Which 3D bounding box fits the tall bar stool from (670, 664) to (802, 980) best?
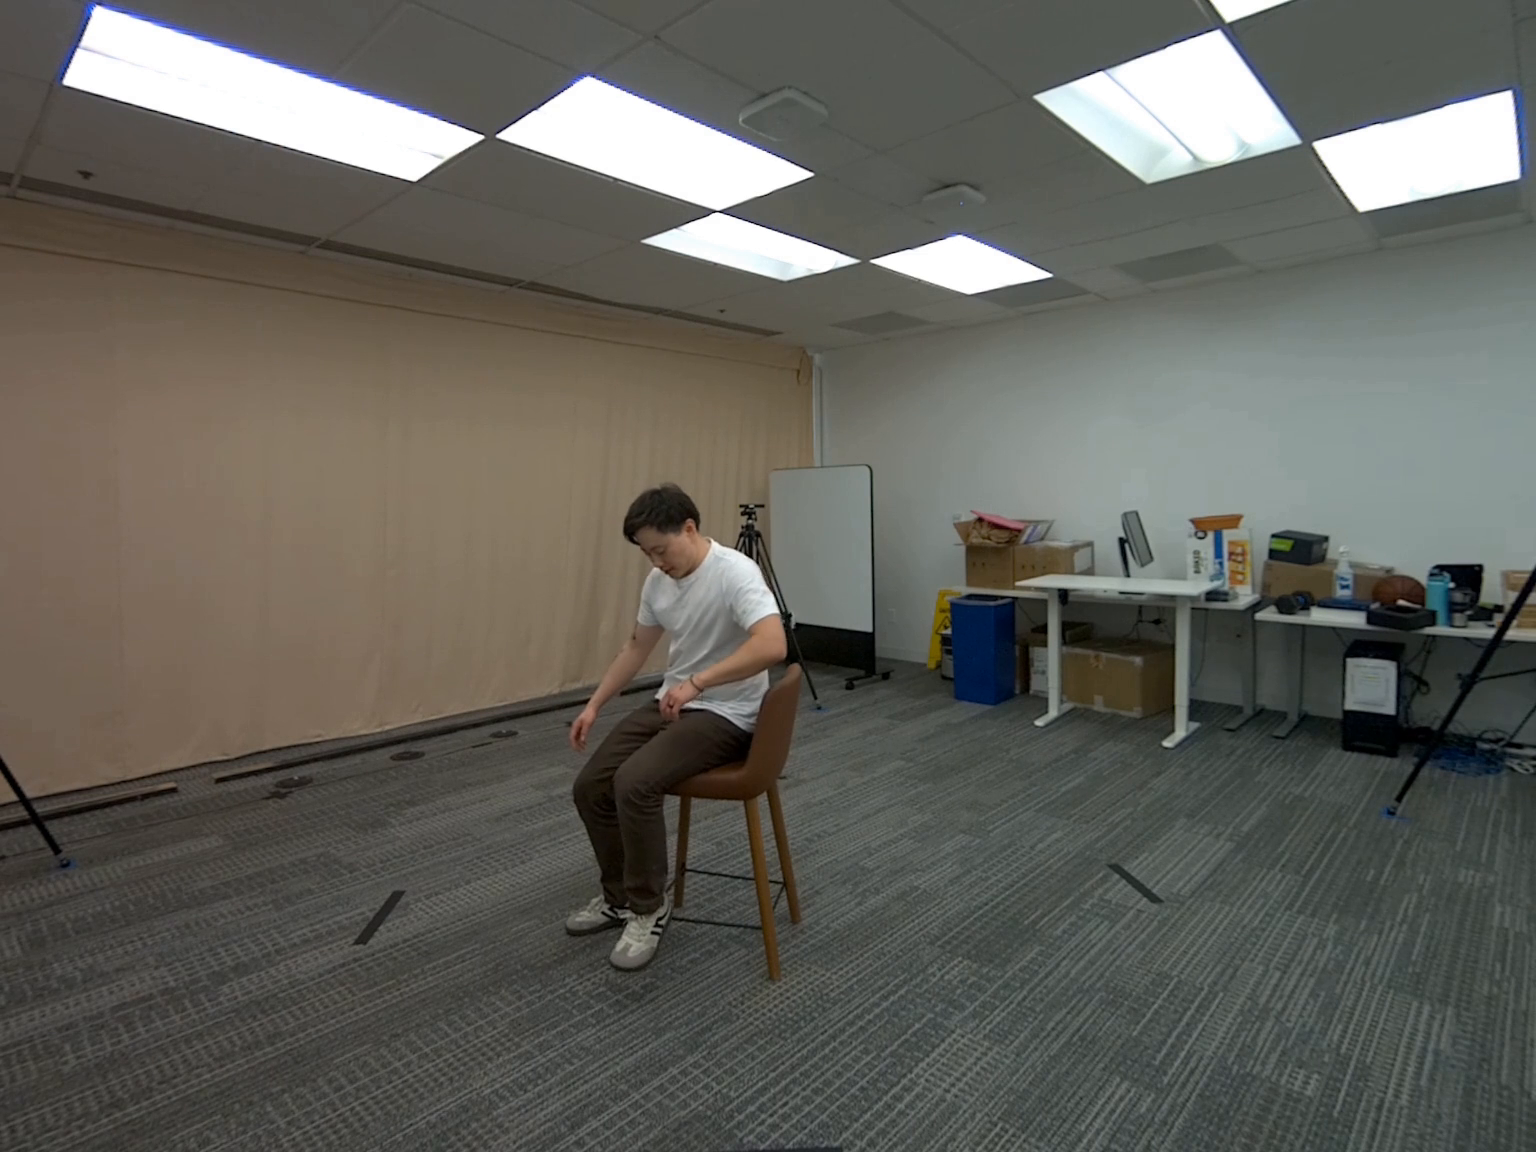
[{"bbox_3d":[-0.145,0.737,2.670,0.475,0.887,0.450,2,4,14],"label":"tall bar stool"}]
